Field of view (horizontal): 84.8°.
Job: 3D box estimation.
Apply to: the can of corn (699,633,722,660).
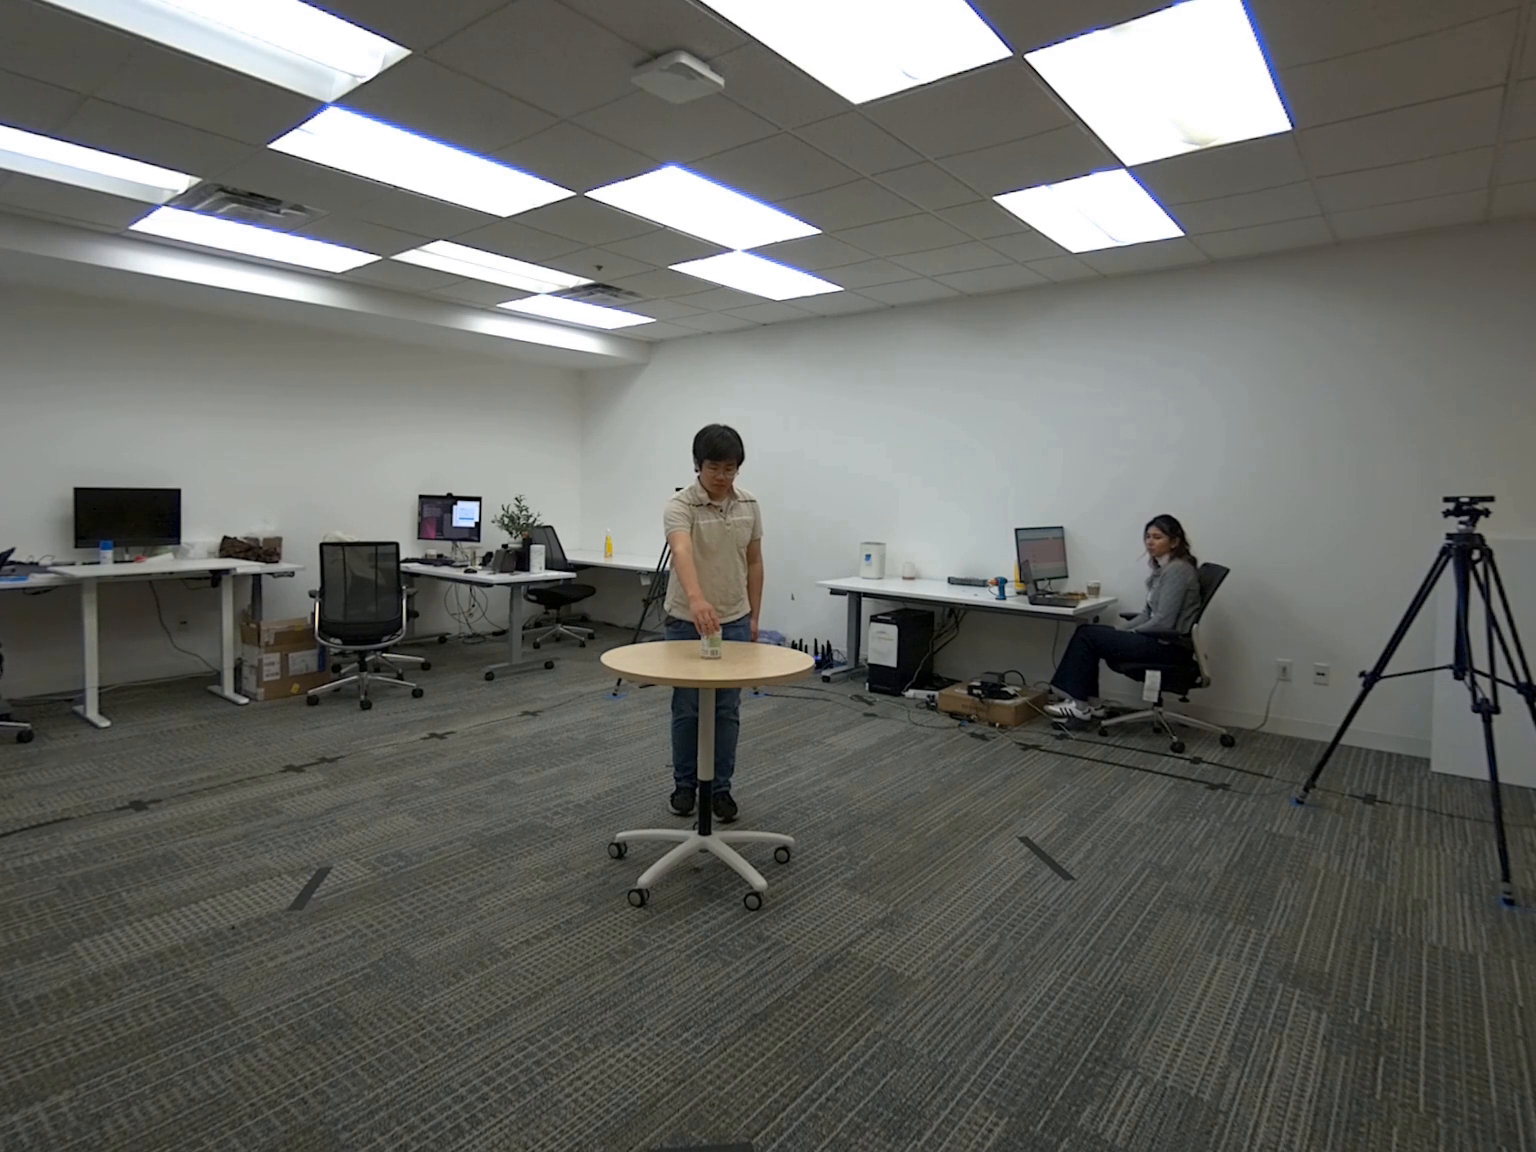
[{"bbox_3d":[-0.215,0.233,3.055,0.074,0.111,0.074,1,0,-2],"label":"can of corn"}]
